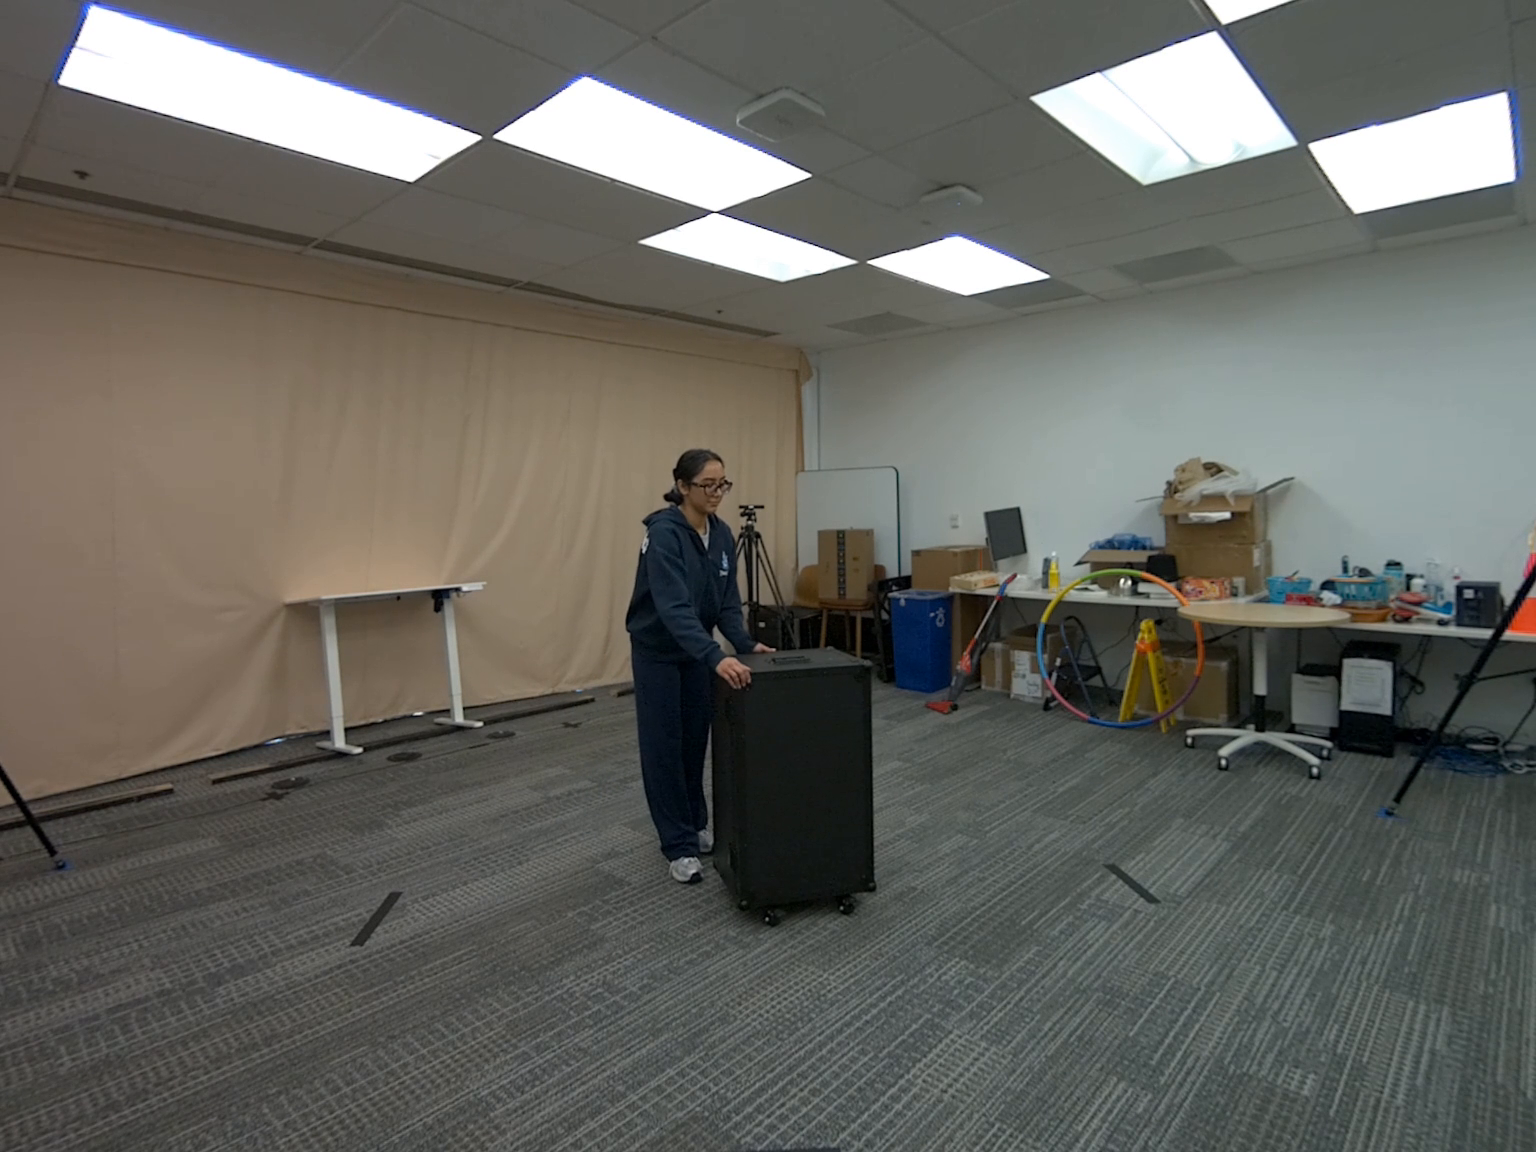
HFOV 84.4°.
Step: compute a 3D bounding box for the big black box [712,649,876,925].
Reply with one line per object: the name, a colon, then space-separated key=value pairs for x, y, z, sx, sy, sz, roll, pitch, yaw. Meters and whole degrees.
big black box: x=0.075 y=0.719 z=2.964 sx=0.514 sy=0.860 sz=0.403 roll=-3 pitch=2 yaw=-15
